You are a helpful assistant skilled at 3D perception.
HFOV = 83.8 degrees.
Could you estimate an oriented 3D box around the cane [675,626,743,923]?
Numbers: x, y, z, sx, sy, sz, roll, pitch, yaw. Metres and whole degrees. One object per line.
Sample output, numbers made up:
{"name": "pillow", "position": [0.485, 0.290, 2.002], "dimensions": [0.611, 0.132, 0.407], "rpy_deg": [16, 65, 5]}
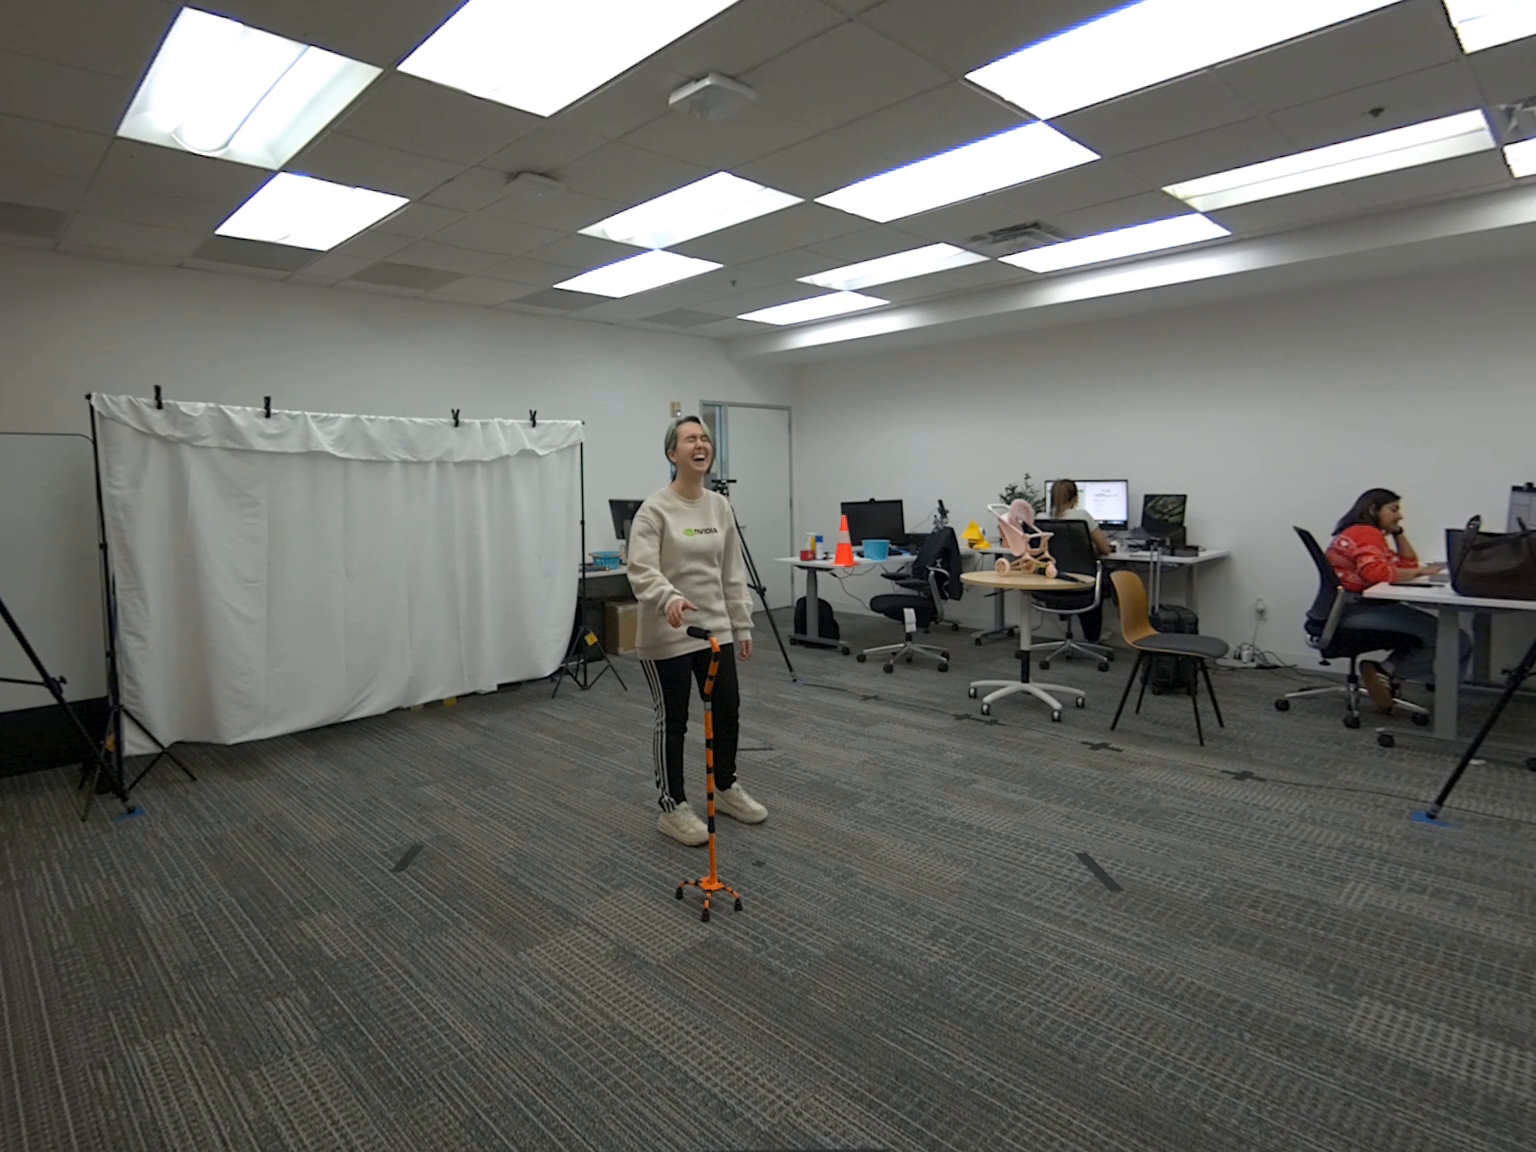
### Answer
{"name": "cane", "position": [-0.202, 0.631, 2.798], "dimensions": [0.148, 0.905, 0.212], "rpy_deg": [-3, 4, -34]}
